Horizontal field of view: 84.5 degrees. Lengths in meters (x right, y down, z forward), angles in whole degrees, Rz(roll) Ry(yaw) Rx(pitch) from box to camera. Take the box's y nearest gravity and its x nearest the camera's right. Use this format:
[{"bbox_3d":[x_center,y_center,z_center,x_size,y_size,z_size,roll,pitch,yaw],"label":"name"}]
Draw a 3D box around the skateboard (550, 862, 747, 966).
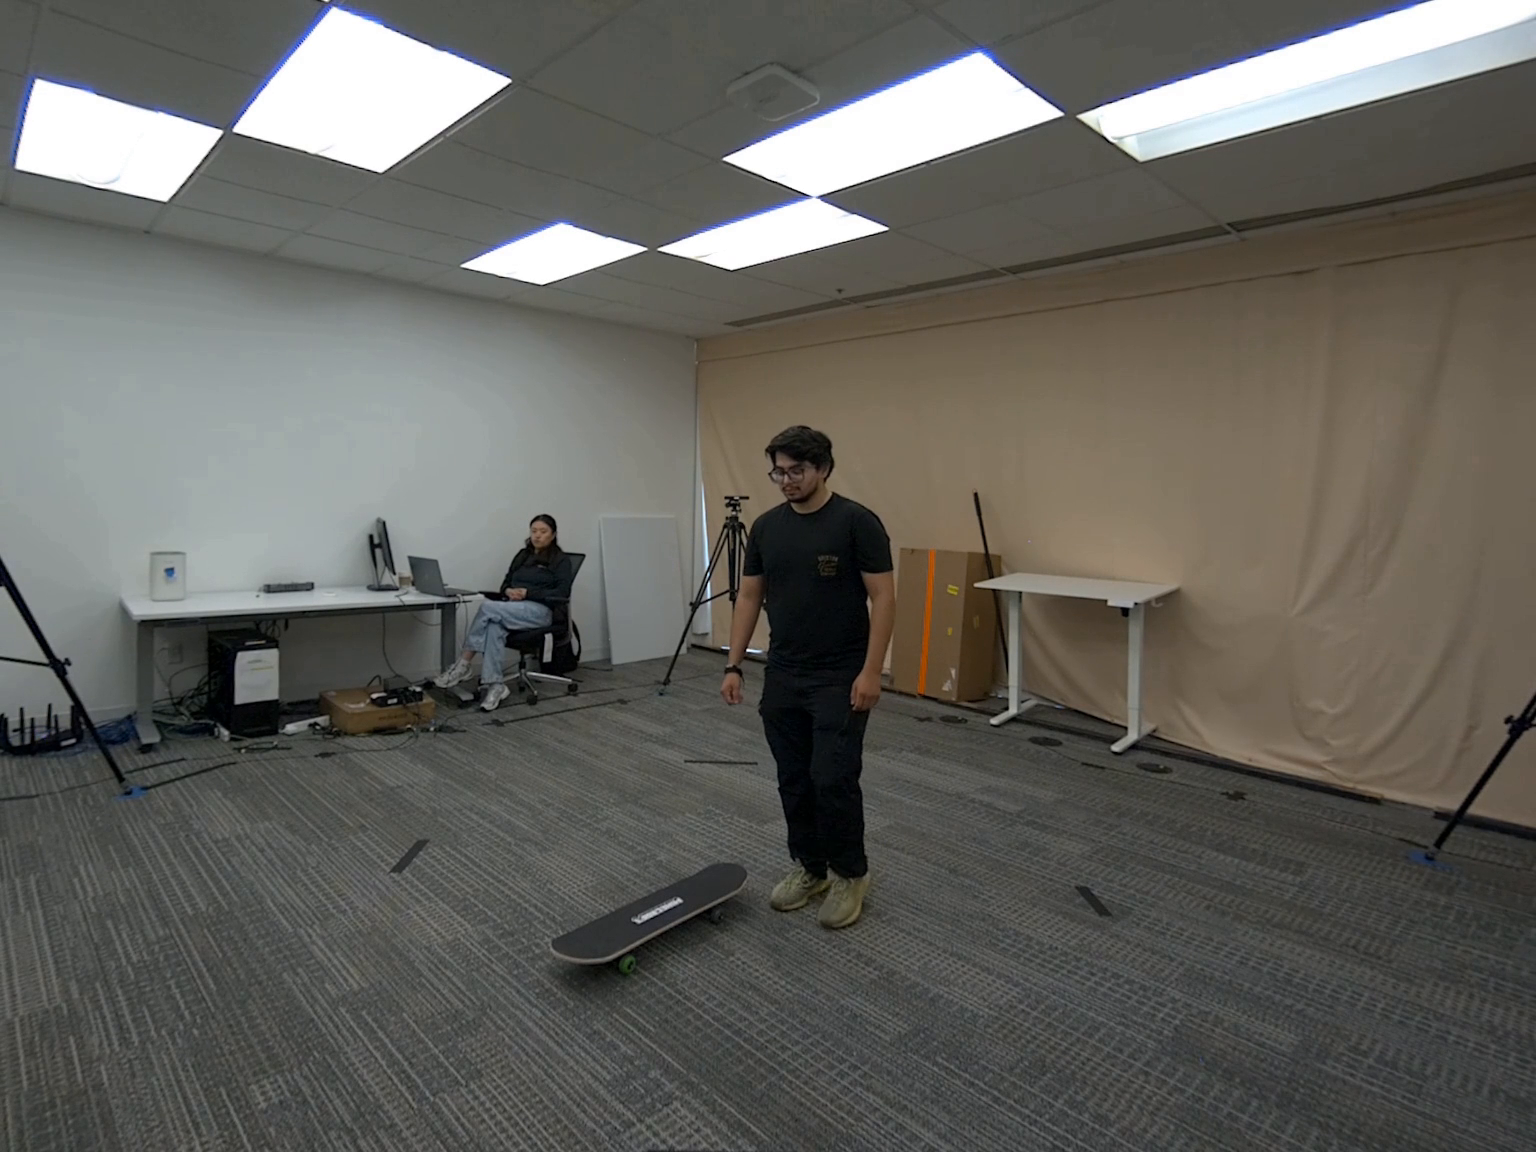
[{"bbox_3d":[-0.354,1.083,2.649,0.198,0.110,0.768,4,5,38],"label":"skateboard"}]
